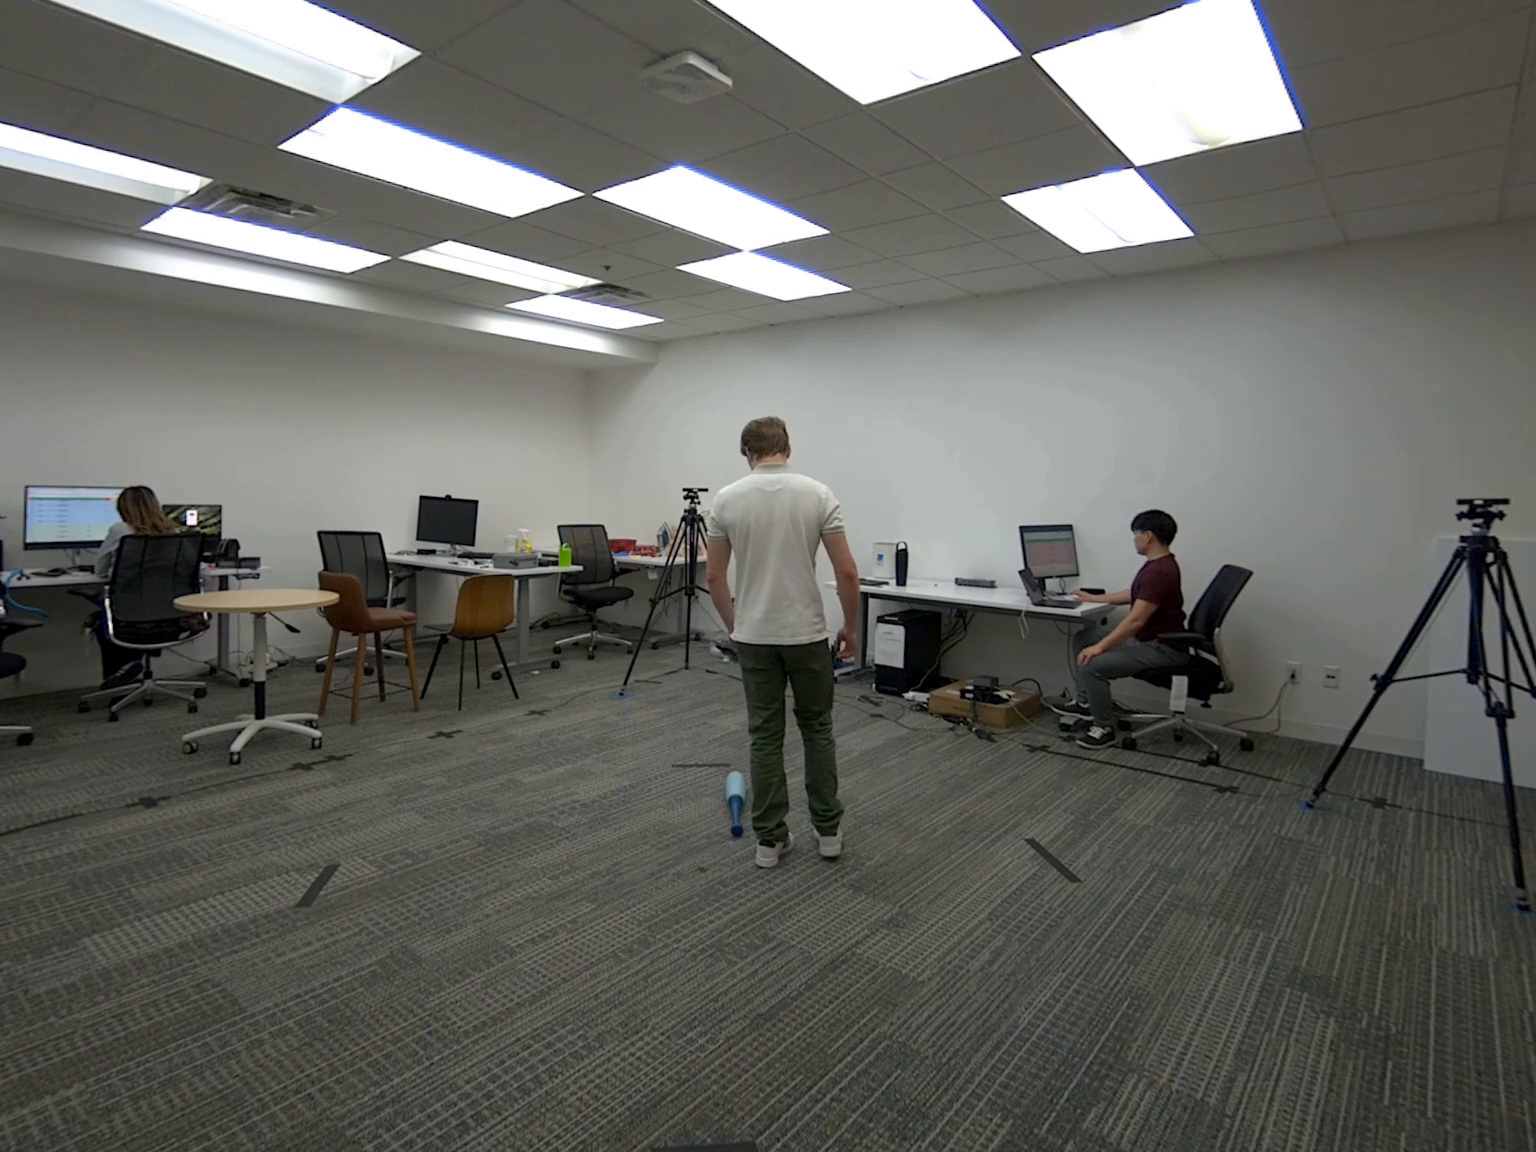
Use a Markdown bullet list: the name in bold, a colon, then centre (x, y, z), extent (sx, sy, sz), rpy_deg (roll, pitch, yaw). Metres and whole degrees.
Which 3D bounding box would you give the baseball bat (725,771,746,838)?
- **baseball bat**: centre (-0.149, 0.979, 3.666), extent (0.089, 0.088, 0.547), rpy_deg (1, 9, -3)
